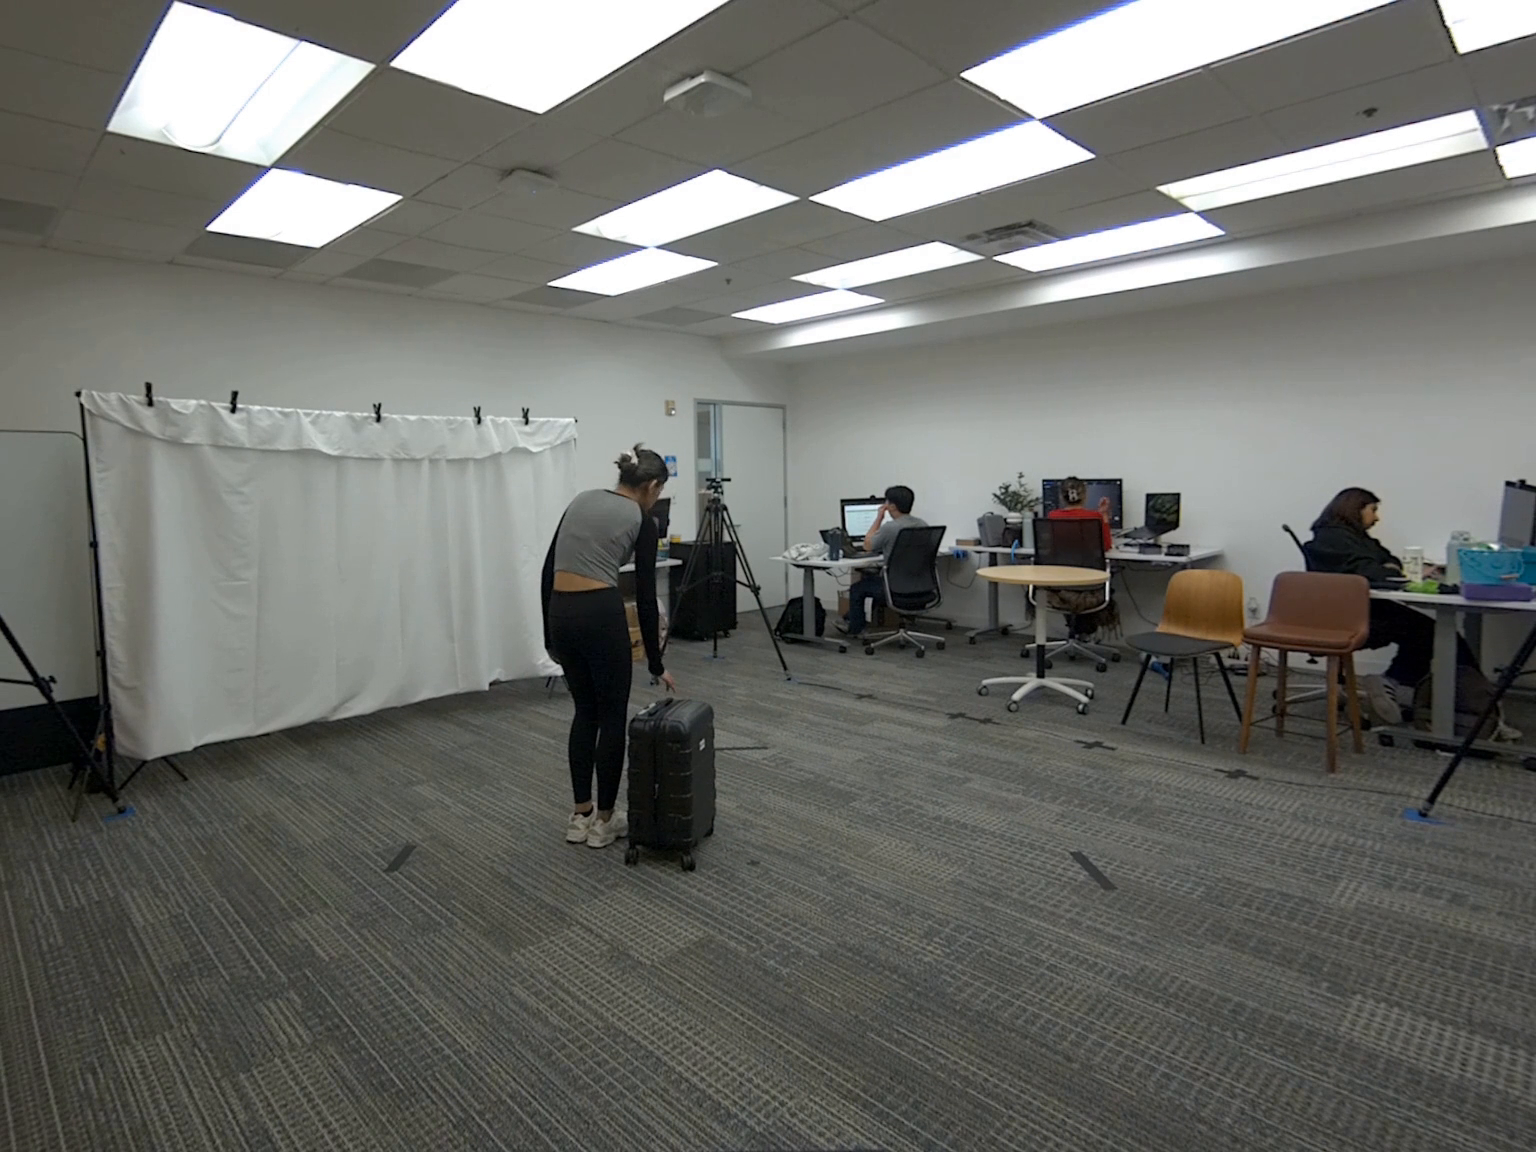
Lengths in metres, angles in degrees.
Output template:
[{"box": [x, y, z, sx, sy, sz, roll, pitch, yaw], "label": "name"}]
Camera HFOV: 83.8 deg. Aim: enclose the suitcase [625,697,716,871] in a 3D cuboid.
[{"box": [-0.362, 0.756, 3.230, 0.252, 0.548, 0.371, 2, 3, 14], "label": "suitcase"}]
